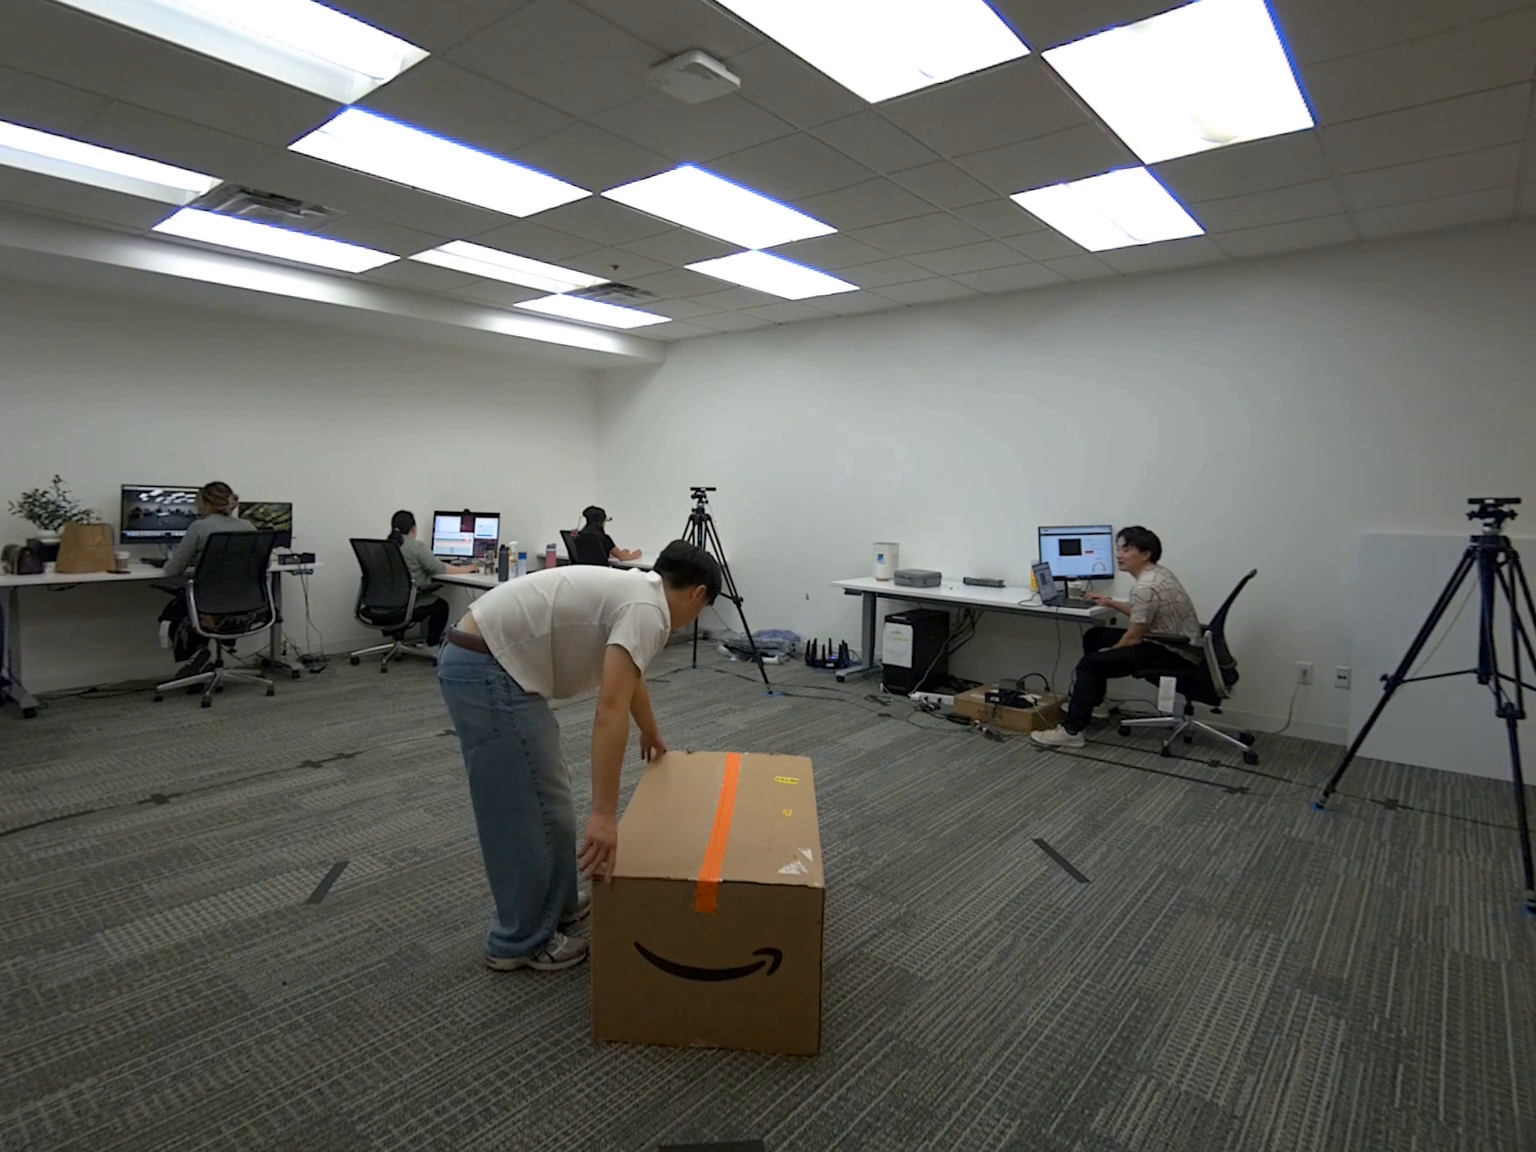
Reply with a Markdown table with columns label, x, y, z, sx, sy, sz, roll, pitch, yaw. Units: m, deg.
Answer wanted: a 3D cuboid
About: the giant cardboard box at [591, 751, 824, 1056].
| label | x | y | z | sx | sy | sz | roll | pitch | yaw |
| --- | --- | --- | --- | --- | --- | --- | --- | --- | --- |
| giant cardboard box | -0.148 | 0.901 | 2.596 | 0.580 | 0.425 | 1.026 | 2 | 5 | 2 |
